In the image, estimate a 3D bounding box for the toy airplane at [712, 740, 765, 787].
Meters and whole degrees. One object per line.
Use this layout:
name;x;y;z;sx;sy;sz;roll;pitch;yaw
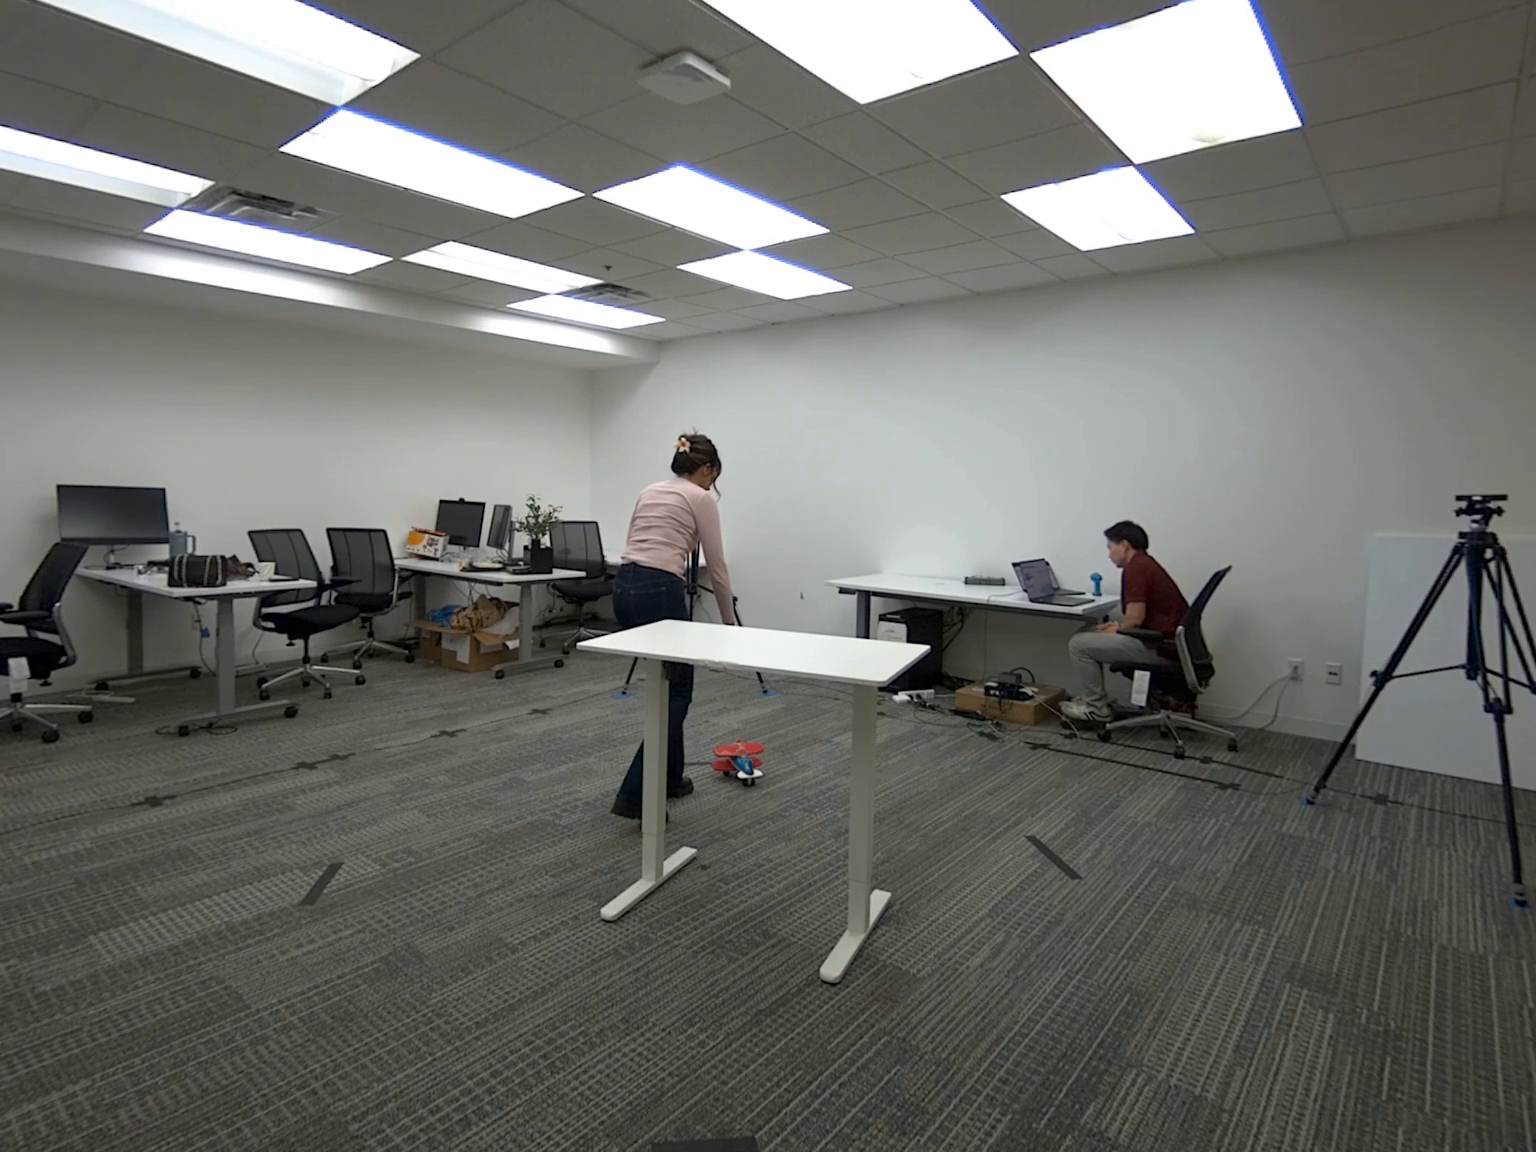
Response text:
toy airplane;-0.127;0.899;4.084;0.267;0.156;0.244;3;5;38
